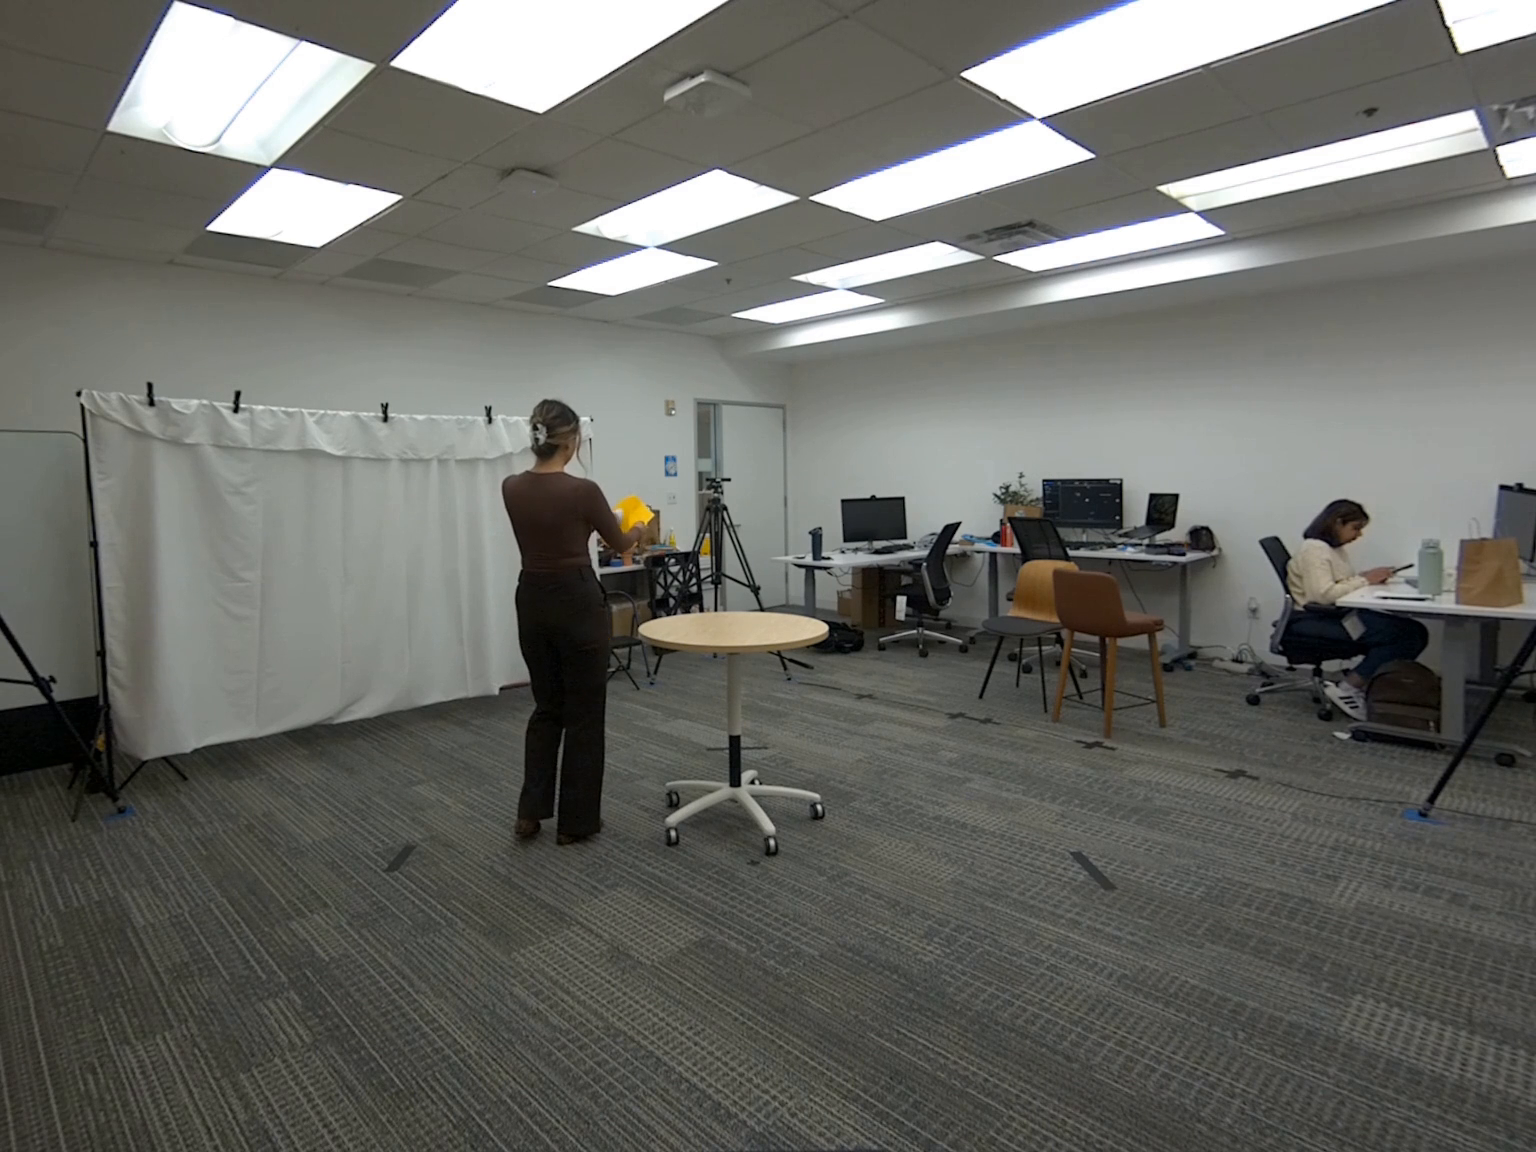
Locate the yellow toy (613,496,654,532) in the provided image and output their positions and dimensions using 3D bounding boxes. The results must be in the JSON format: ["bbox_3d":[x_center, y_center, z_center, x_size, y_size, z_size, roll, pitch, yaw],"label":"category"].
[{"bbox_3d":[-0.621,-0.268,3.746,0.197,0.225,0.205,13,36,20],"label":"yellow toy"}]
